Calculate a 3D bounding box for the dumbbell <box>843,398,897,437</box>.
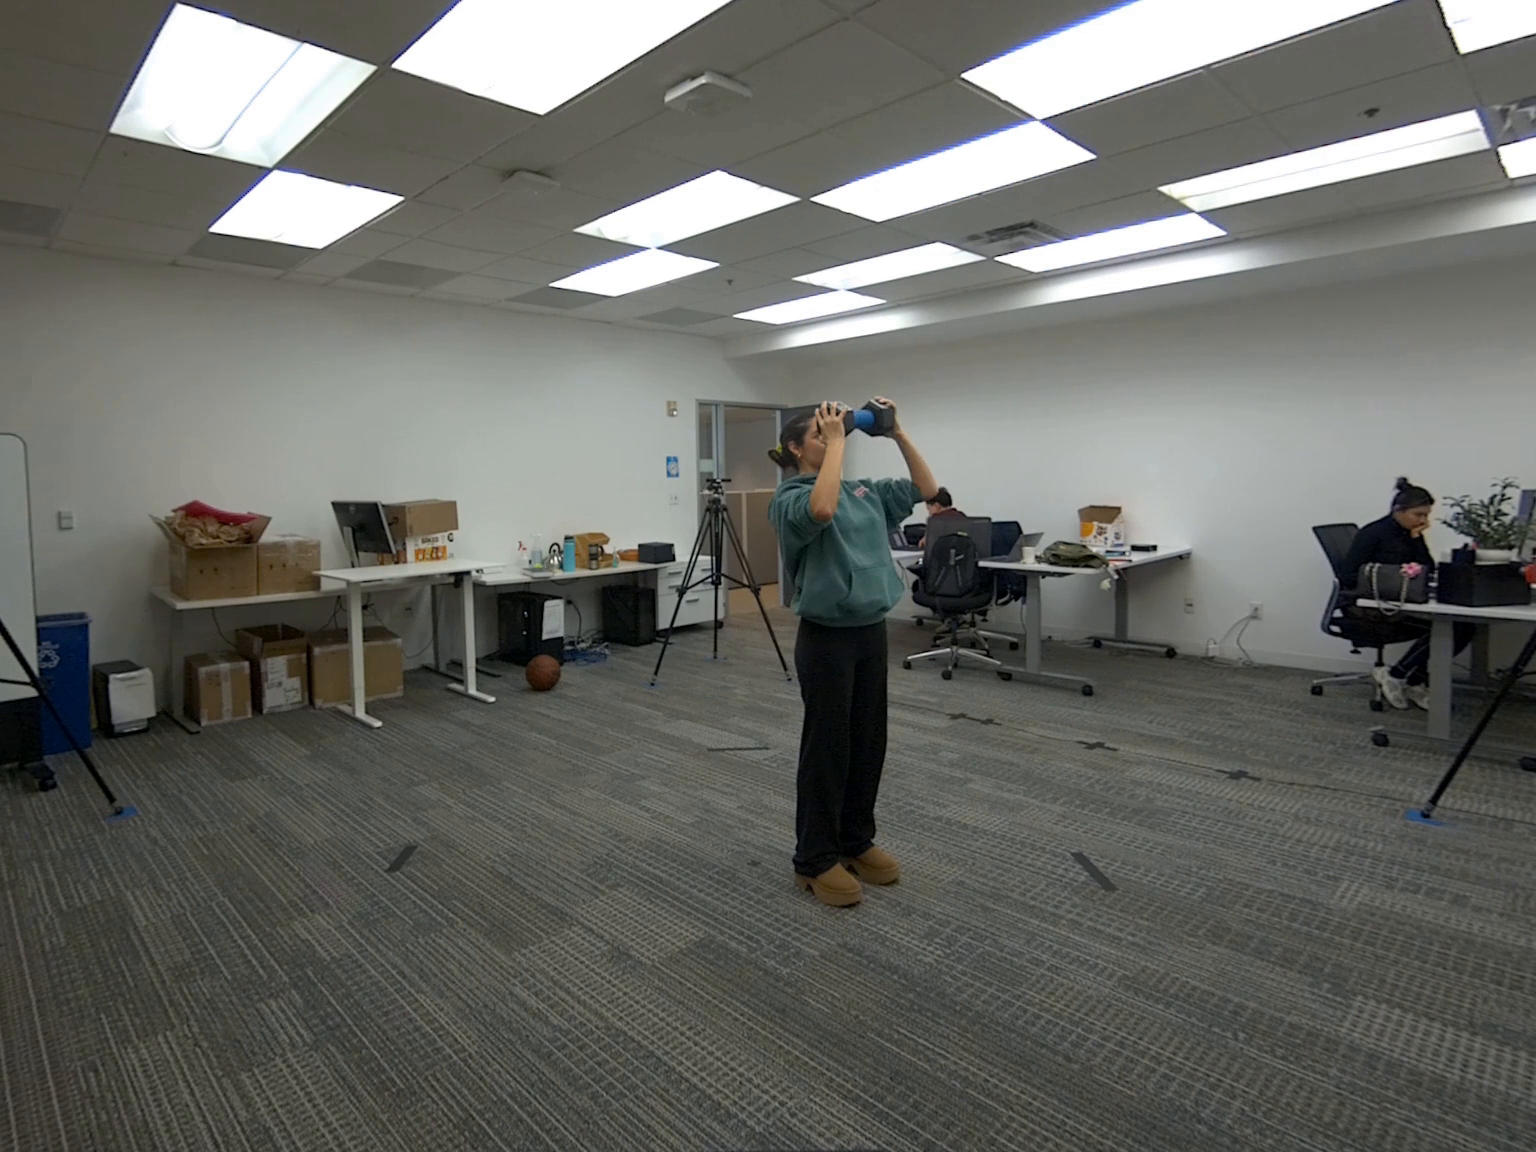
[{"bbox_3d":[0.285,-0.512,2.795,0.112,0.122,0.287,-1,10,45],"label":"dumbbell"}]
